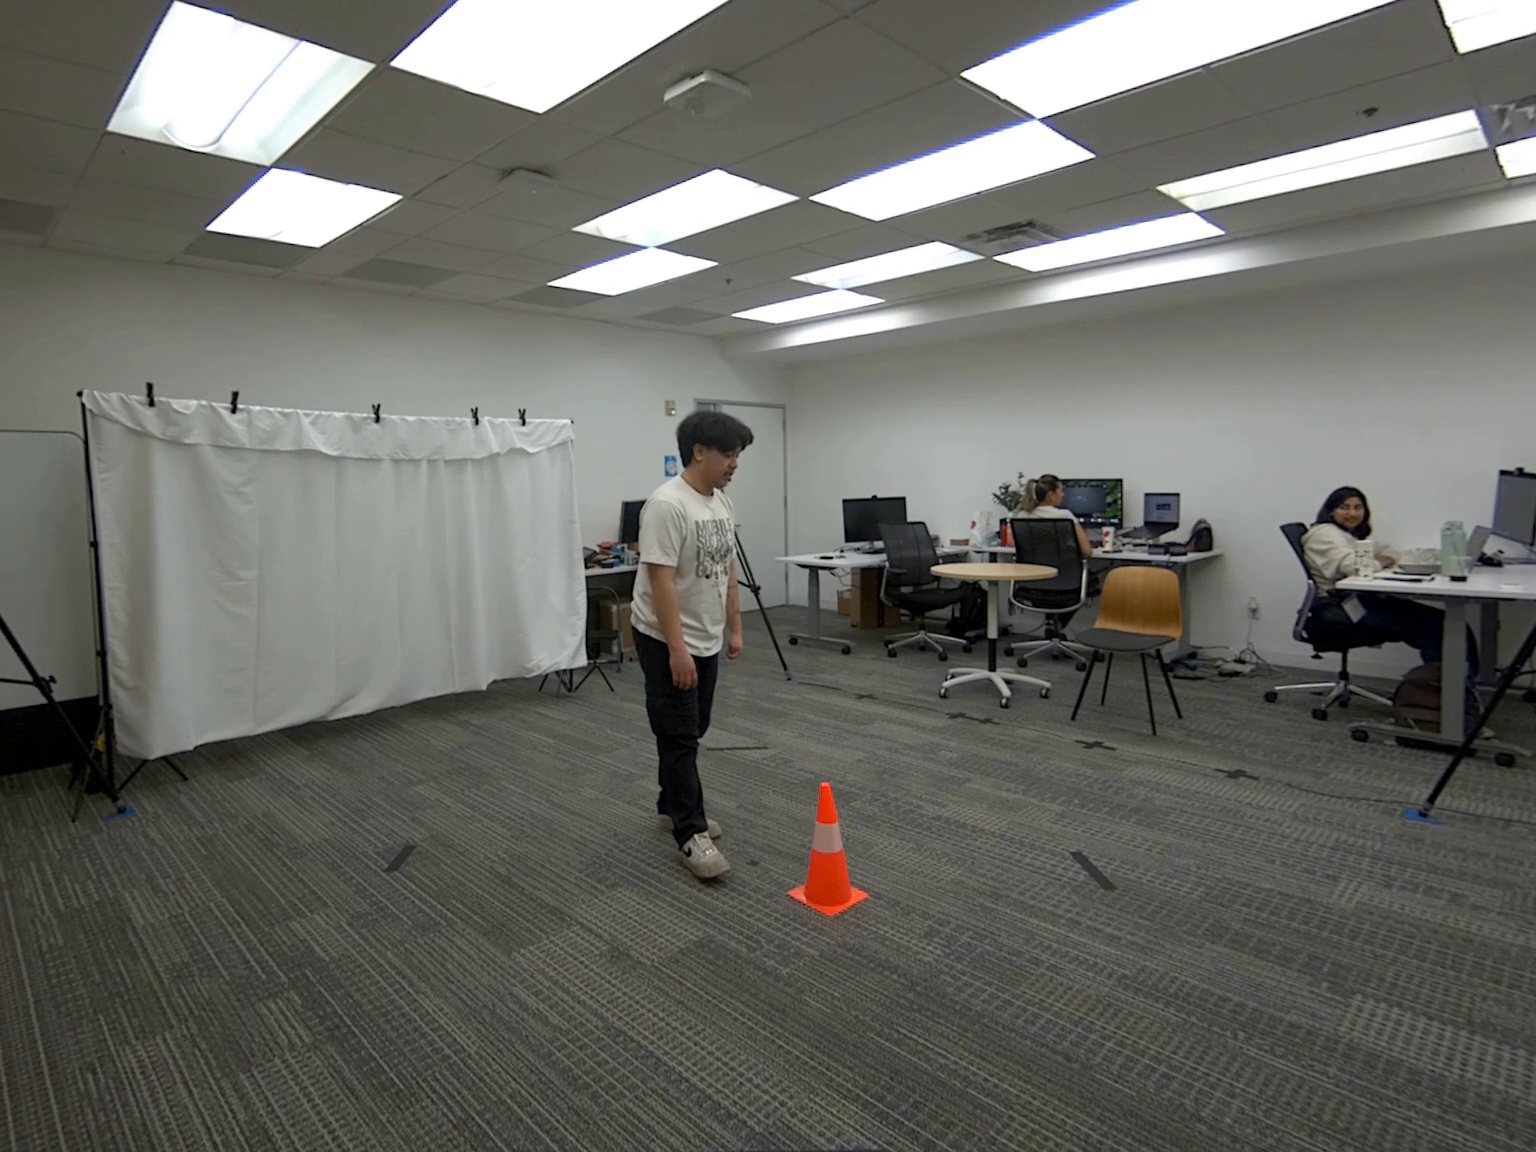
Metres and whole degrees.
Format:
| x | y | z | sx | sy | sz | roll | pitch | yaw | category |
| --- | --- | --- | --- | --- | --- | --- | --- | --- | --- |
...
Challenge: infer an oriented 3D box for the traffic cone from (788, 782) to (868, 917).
| x | y | z | sx | sy | sz | roll | pitch | yaw | category |
| --- | --- | --- | --- | --- | --- | --- | --- | --- | --- |
| 0.203 | 0.879 | 2.843 | 0.198 | 0.382 | 0.211 | -4 | 5 | -42 | traffic cone |
